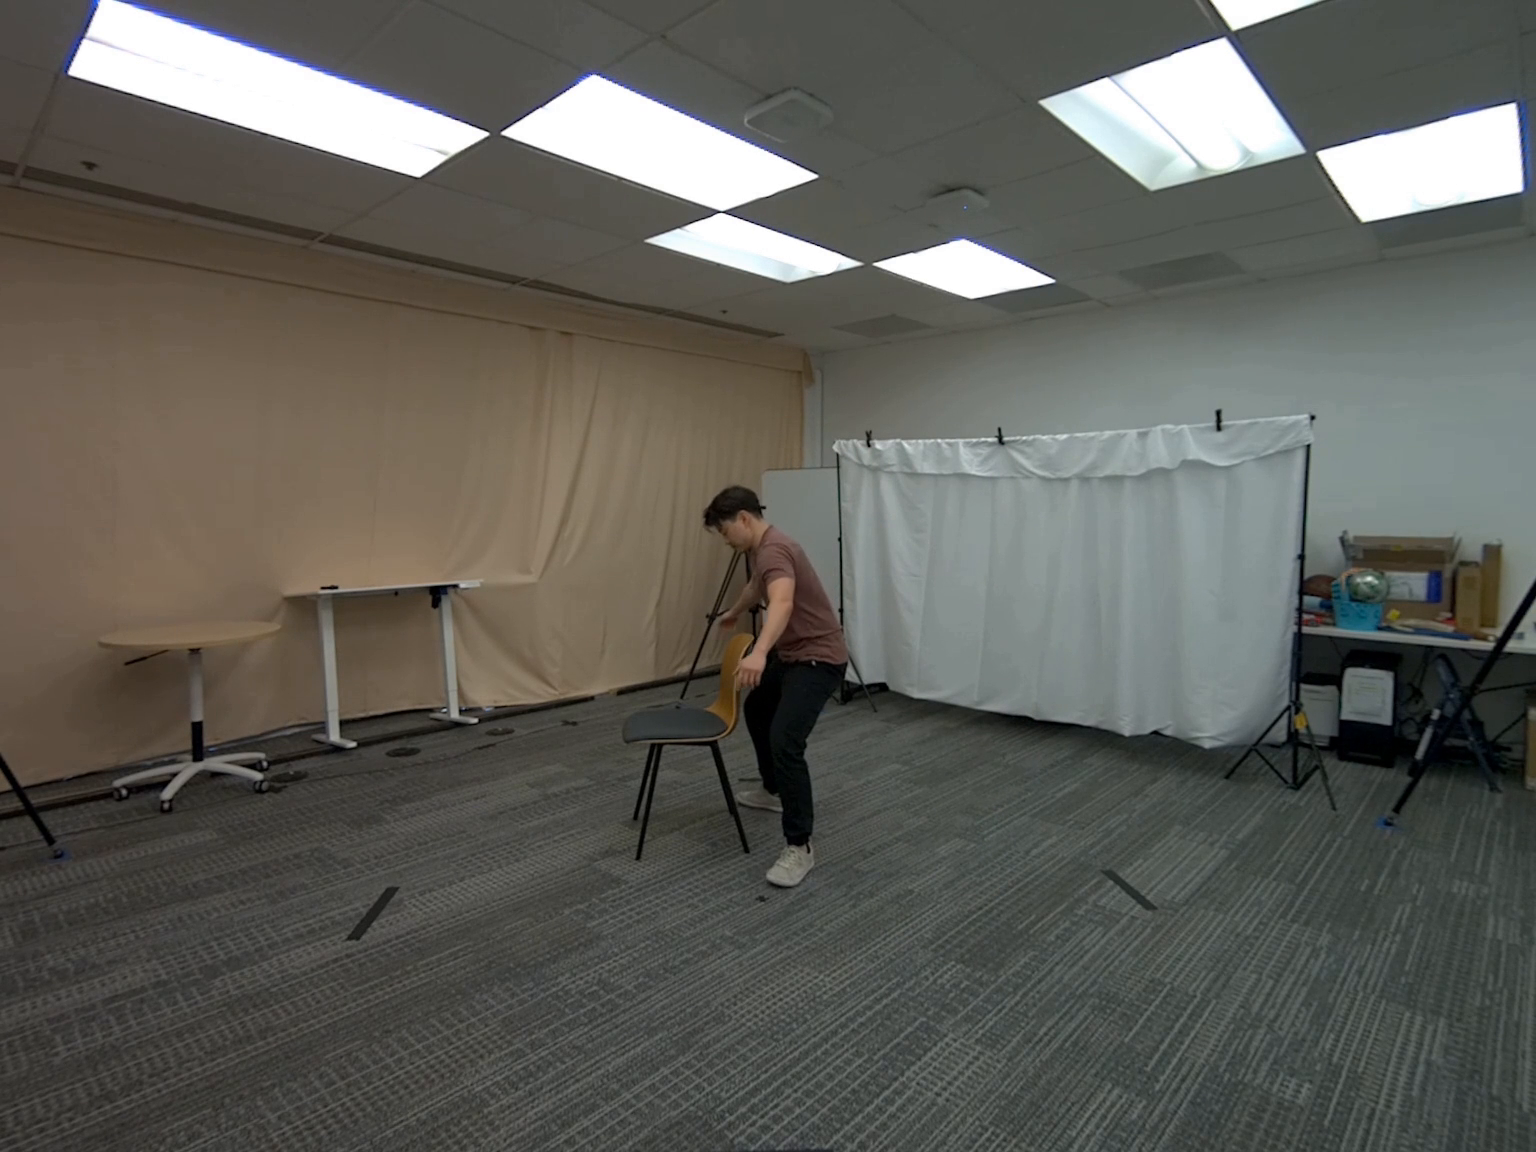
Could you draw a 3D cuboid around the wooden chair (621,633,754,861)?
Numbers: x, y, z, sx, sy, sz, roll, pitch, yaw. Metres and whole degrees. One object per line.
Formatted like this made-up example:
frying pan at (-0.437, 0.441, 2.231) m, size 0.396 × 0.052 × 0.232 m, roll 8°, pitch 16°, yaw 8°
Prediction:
wooden chair at (-0.352, 0.676, 3.526) m, size 0.518 × 0.876 × 0.484 m, roll 4°, pitch 3°, yaw -9°
